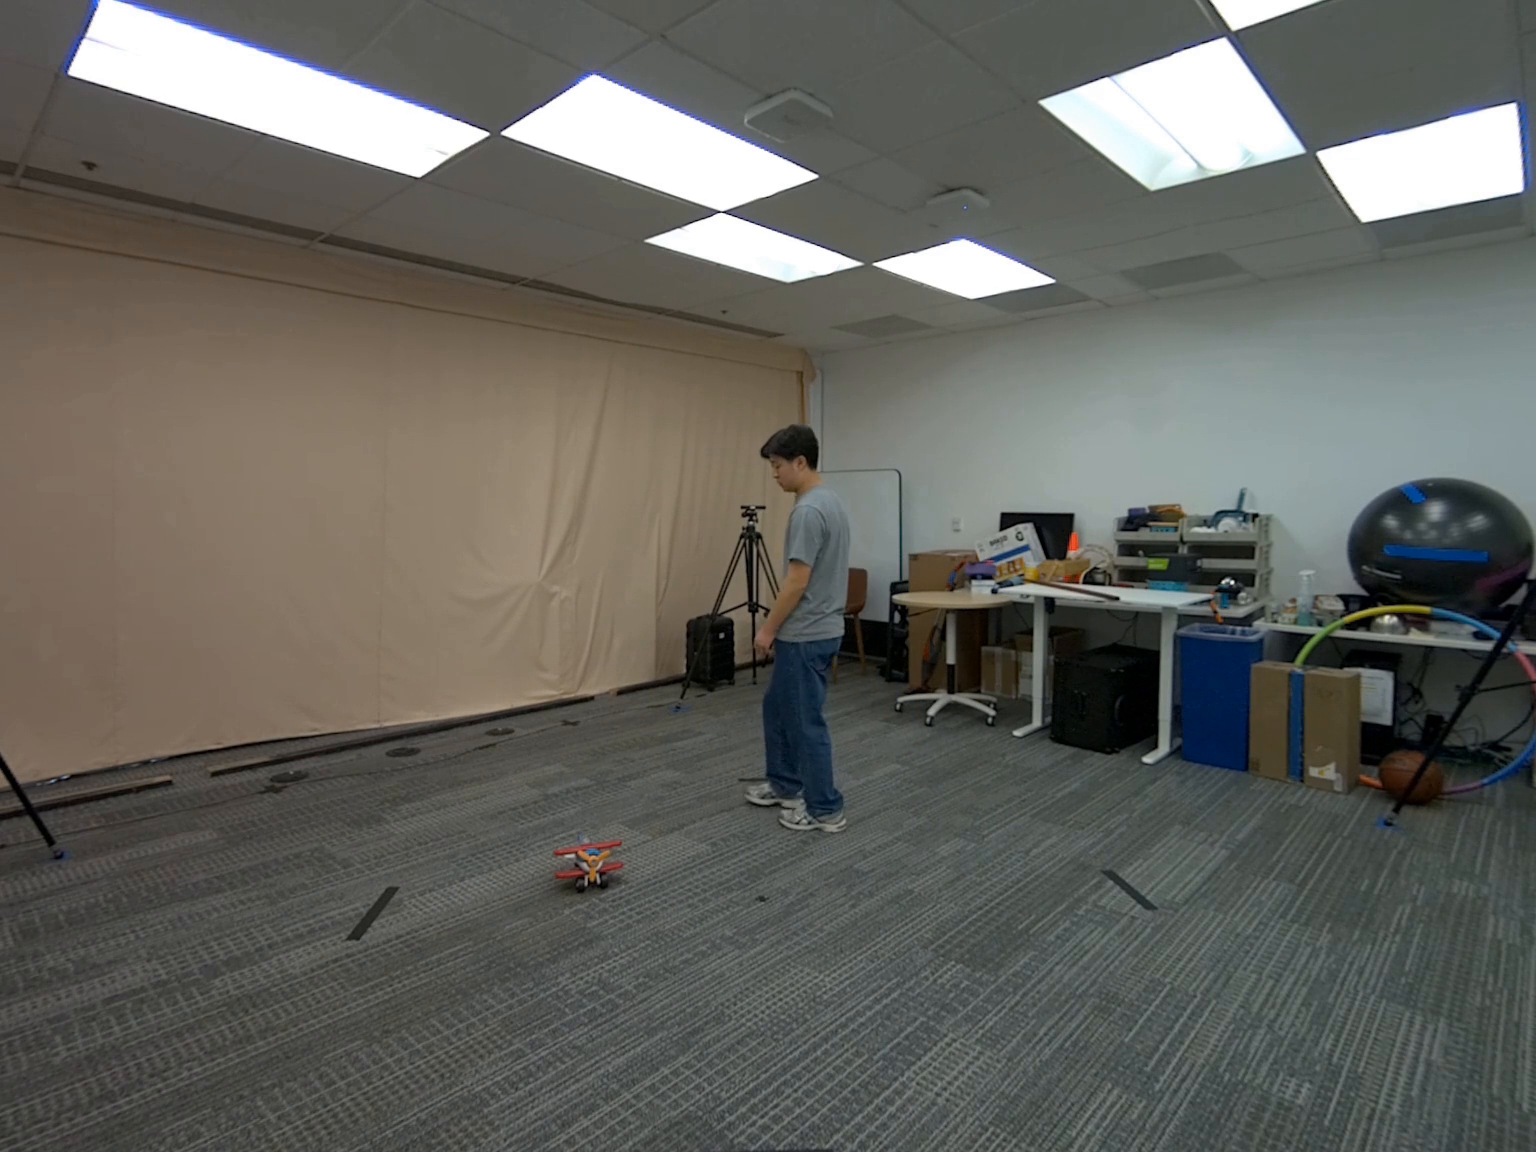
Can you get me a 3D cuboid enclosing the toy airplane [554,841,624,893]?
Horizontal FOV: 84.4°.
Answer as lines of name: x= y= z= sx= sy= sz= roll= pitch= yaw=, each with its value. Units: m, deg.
toy airplane: x=-0.696 y=1.066 z=3.133 sx=0.268 sy=0.156 sz=0.243 roll=4 pitch=6 yaw=39
